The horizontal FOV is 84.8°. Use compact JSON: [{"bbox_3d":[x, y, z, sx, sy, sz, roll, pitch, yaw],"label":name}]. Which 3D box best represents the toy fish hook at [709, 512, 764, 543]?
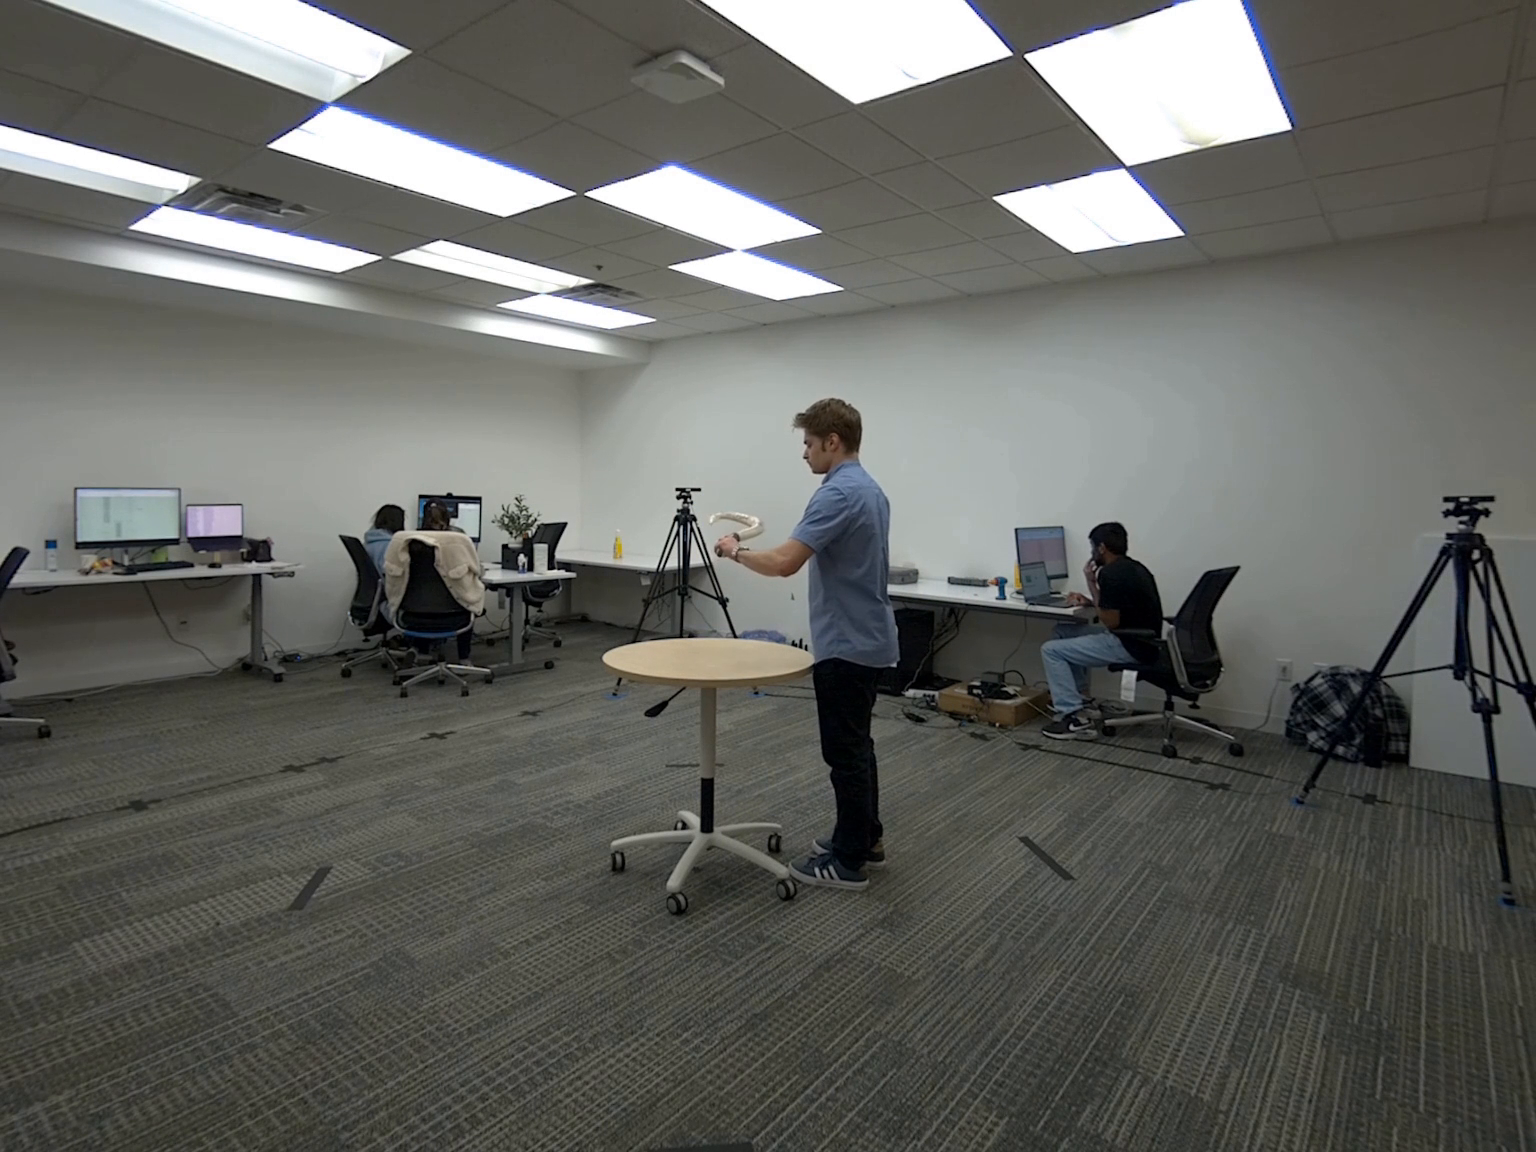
[{"bbox_3d":[-0.173,-0.169,3.262,0.228,0.047,0.507,10,20,9],"label":"toy fish hook"}]
